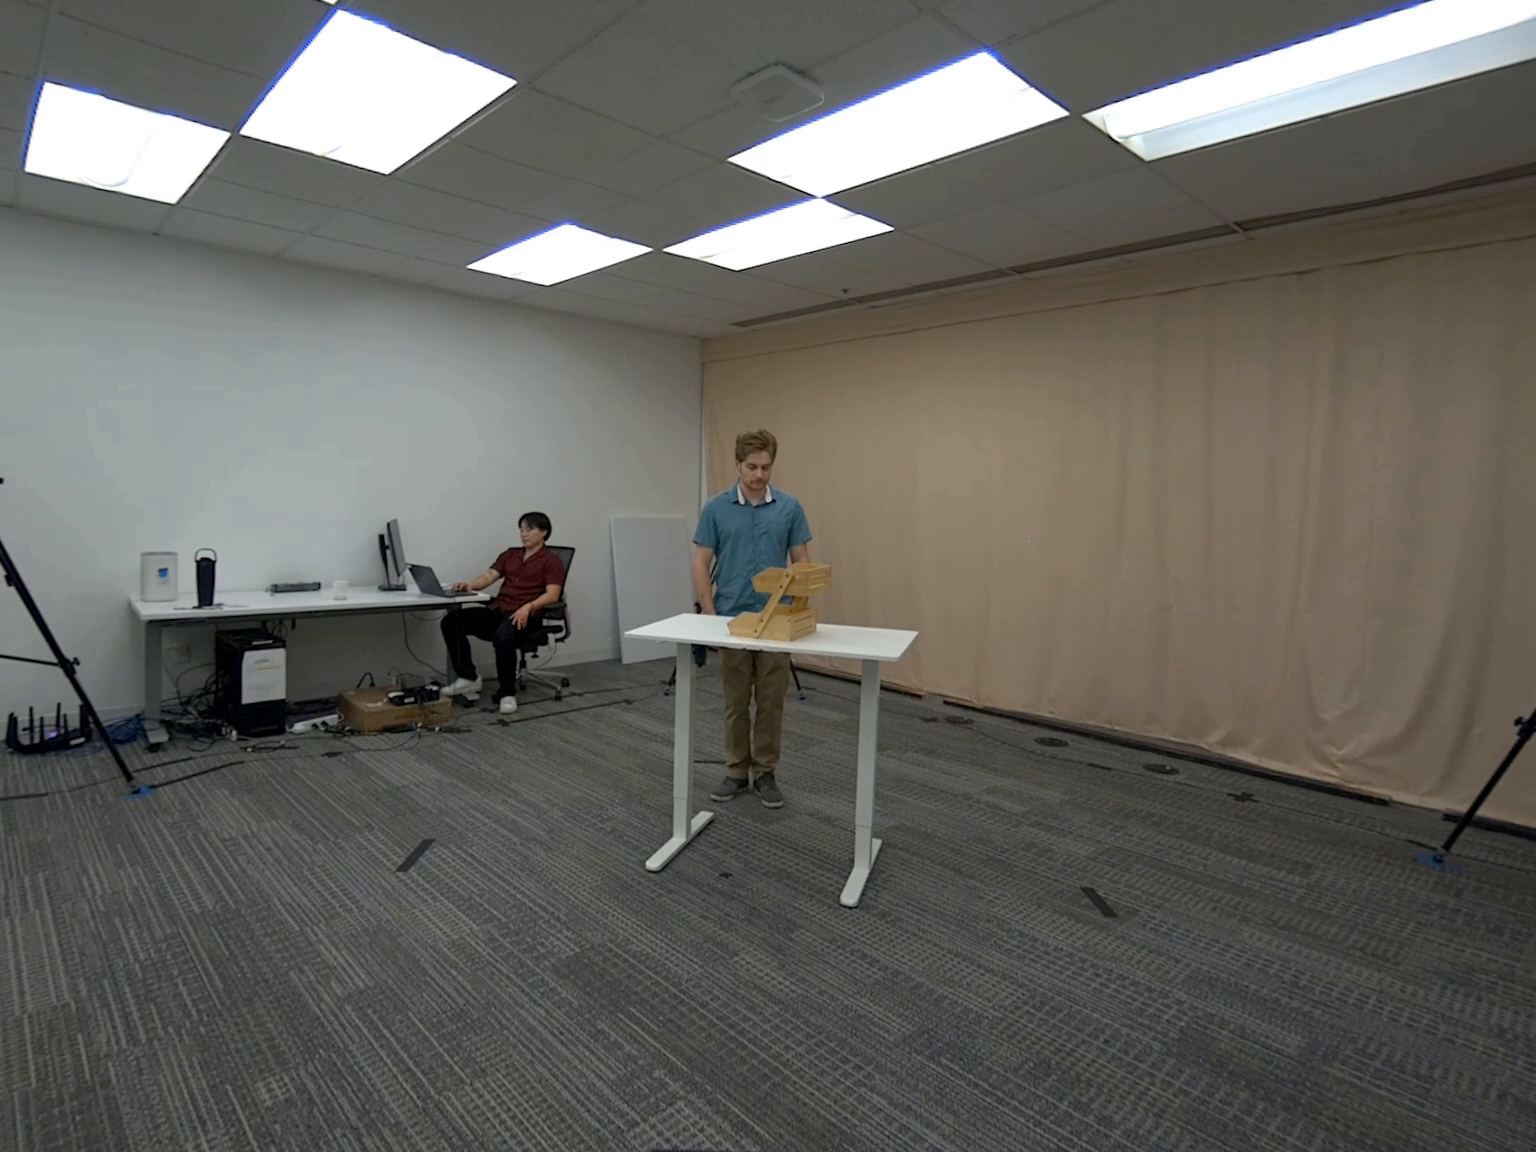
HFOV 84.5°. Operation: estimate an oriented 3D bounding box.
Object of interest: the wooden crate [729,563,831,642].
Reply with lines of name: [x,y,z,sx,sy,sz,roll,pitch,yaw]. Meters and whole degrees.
wooden crate: [0.029,0.087,3.178,0.307,0.272,0.319,4,5,22]
